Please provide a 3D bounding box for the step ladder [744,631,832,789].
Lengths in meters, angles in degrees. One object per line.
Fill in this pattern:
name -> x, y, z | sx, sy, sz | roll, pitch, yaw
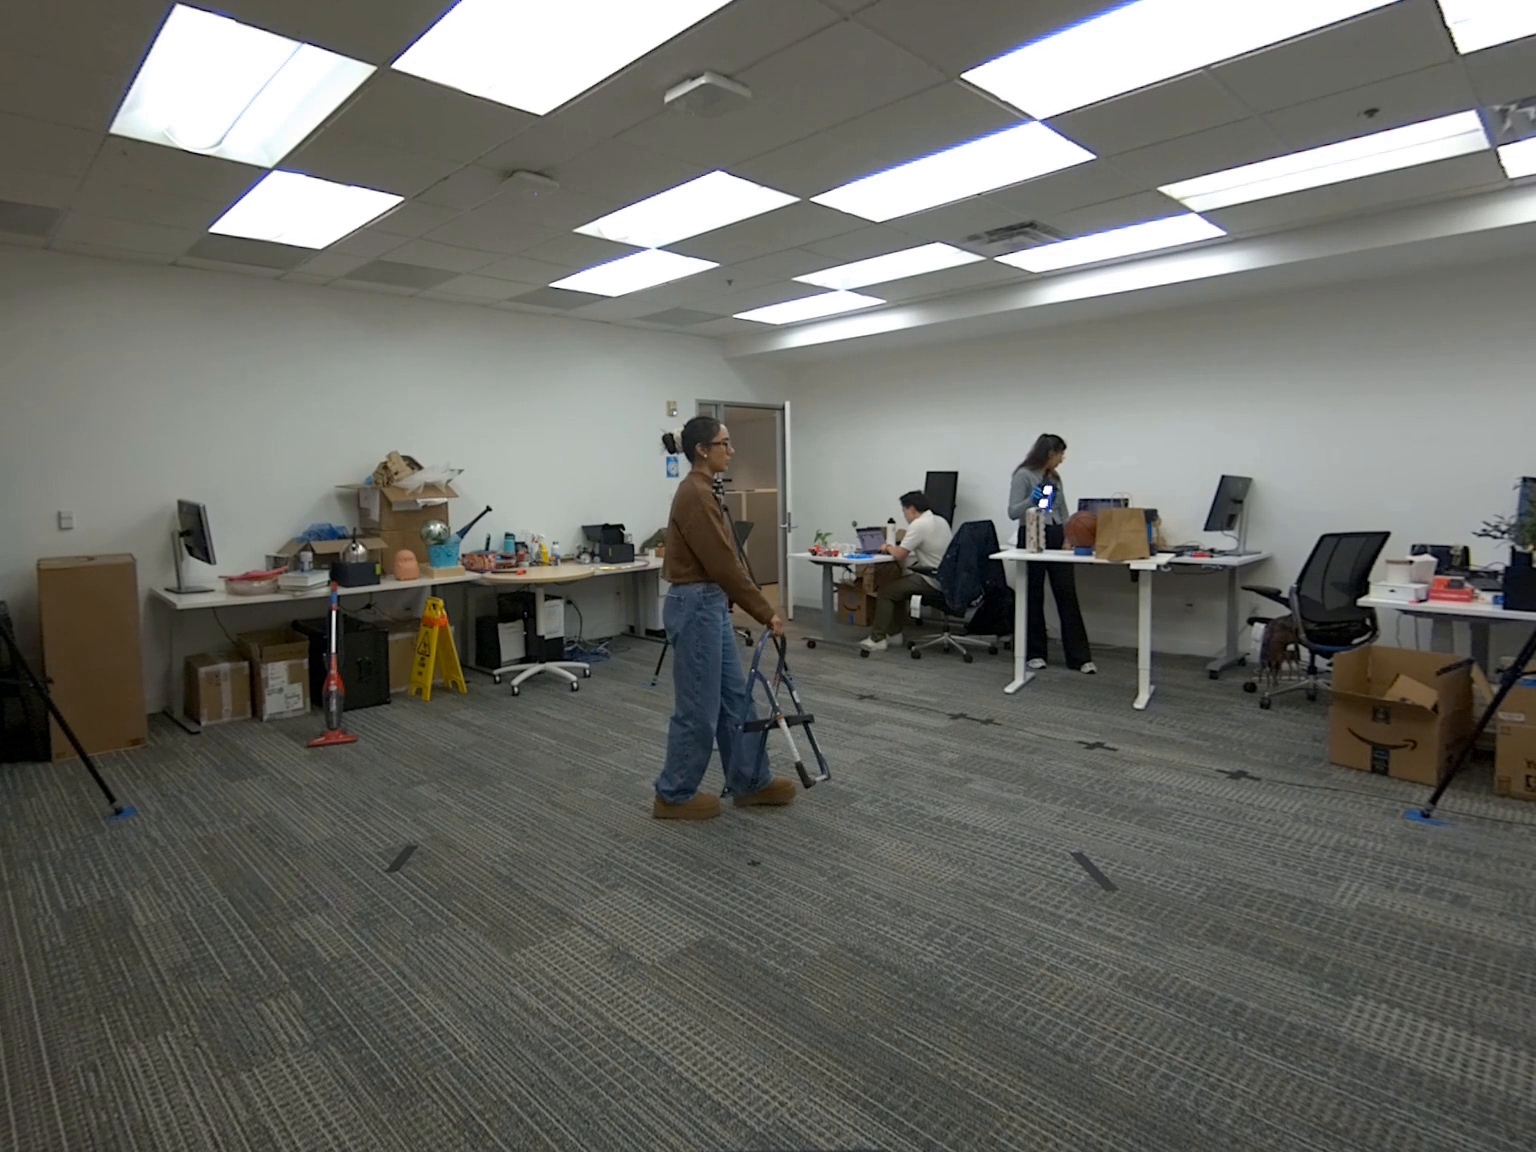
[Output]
step ladder -> -0.003, 0.528, 3.362 | 0.353, 0.614, 0.420 | -11, -12, 13
